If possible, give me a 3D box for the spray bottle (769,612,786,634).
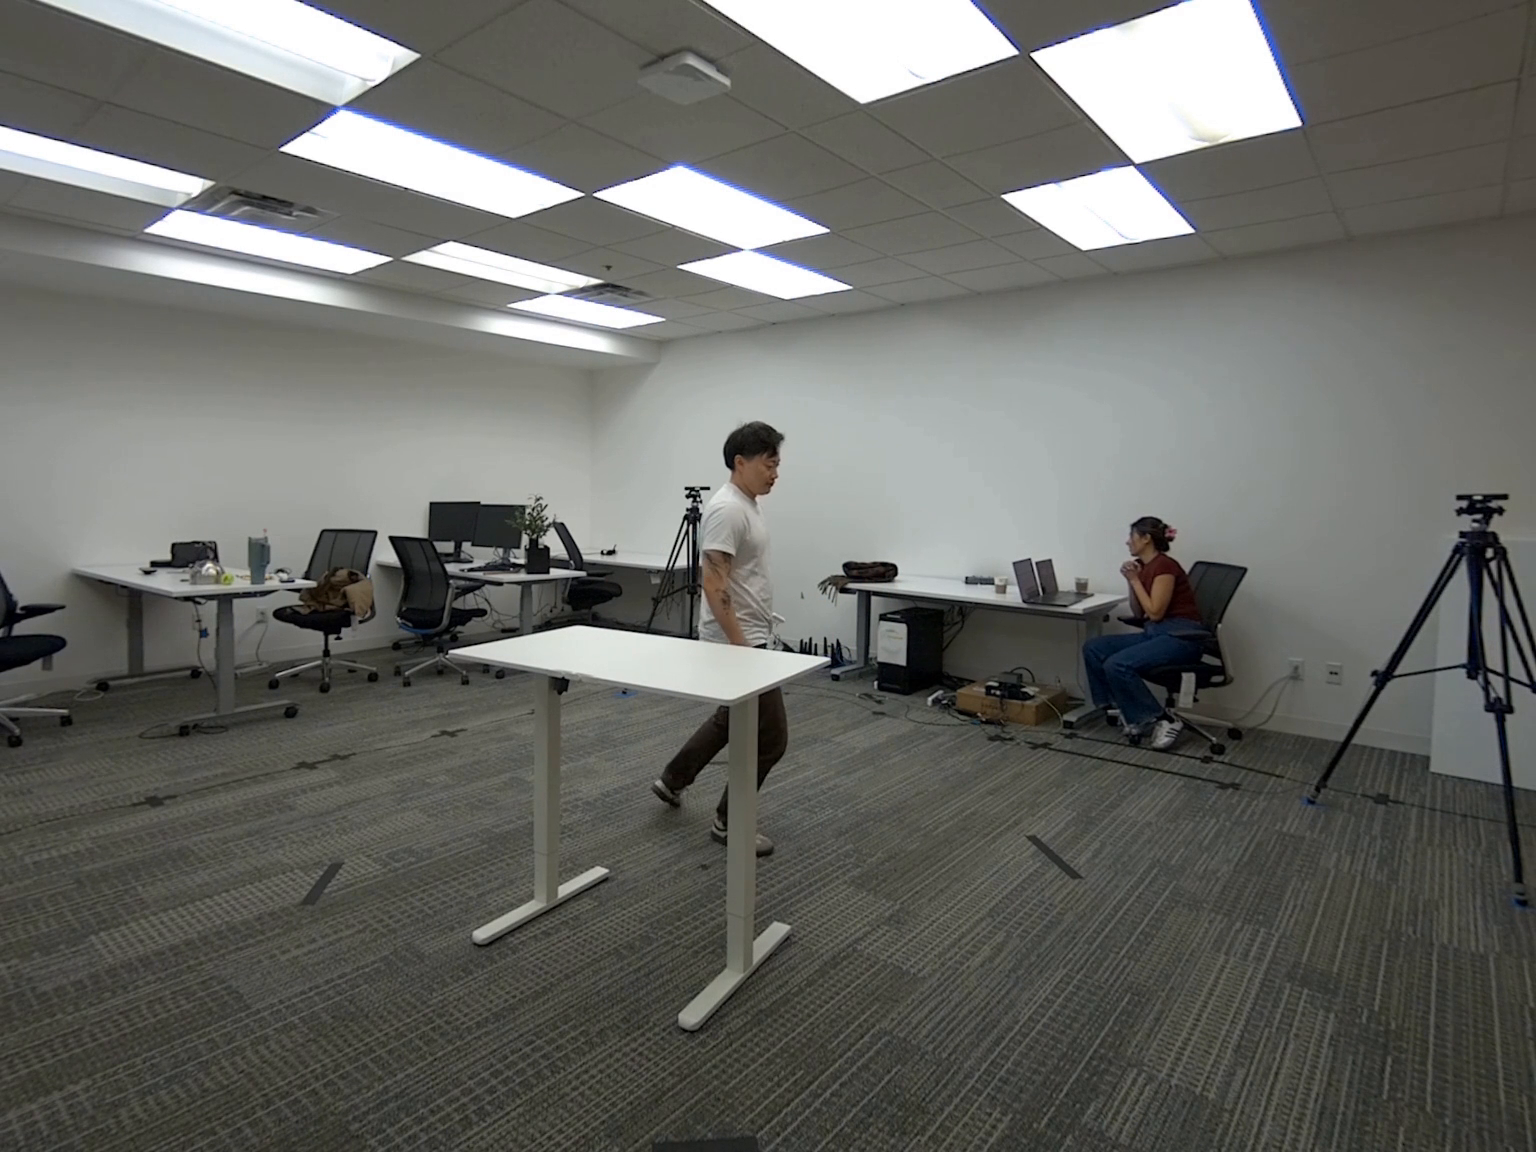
[{"bbox_3d":[-0.062,0.234,3.628,0.298,0.089,0.087,-40,6,27],"label":"spray bottle"}]
